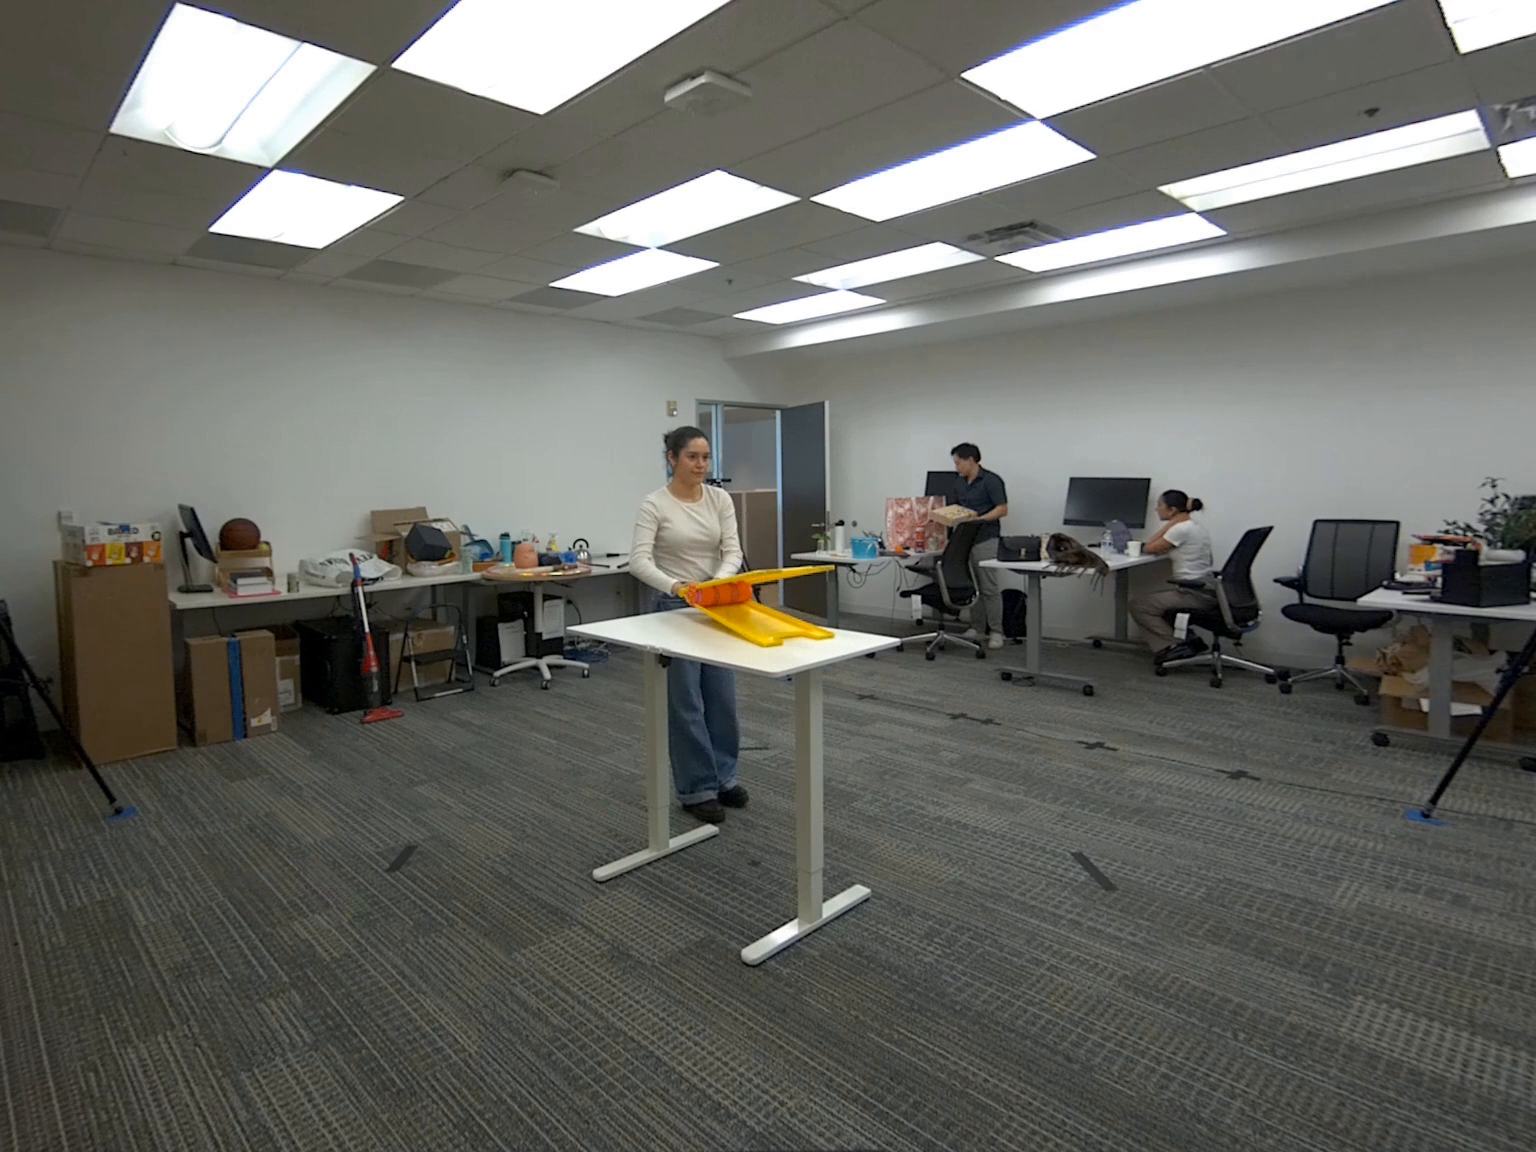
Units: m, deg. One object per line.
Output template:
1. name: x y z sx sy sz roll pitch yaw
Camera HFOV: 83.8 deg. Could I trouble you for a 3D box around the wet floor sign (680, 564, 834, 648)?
1. wet floor sign: -0.072 0.079 2.962 0.275 0.289 0.663 -4 5 -31
